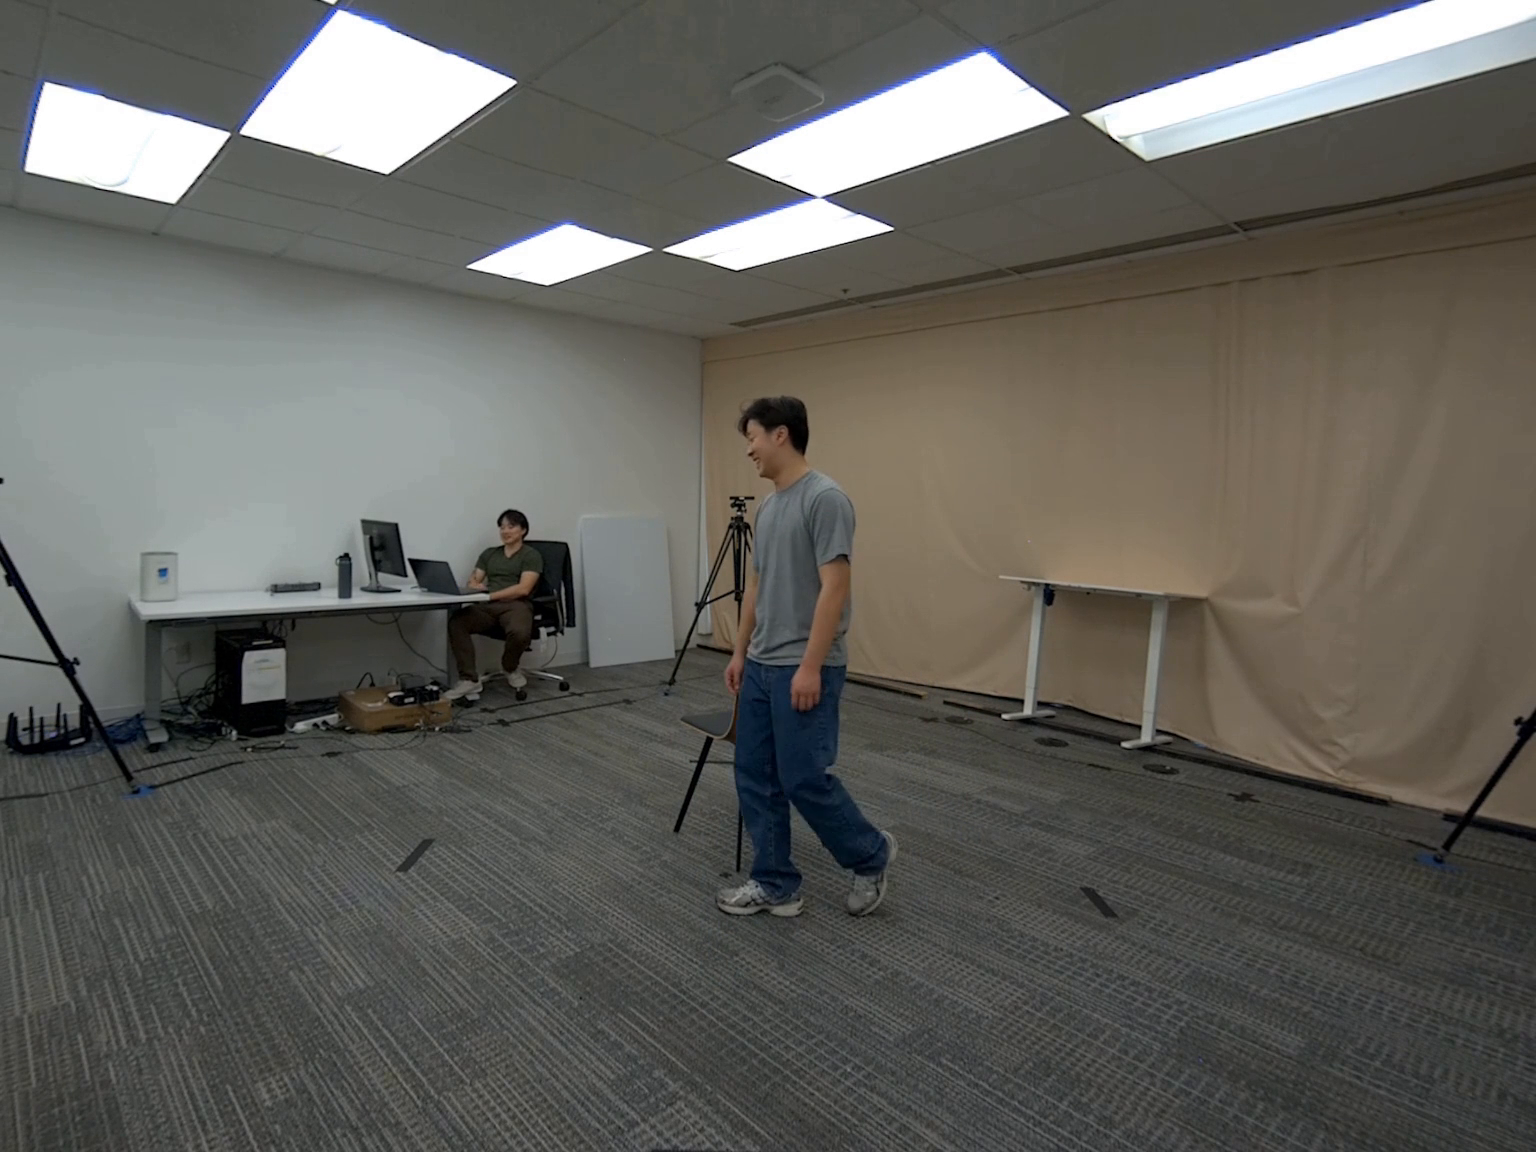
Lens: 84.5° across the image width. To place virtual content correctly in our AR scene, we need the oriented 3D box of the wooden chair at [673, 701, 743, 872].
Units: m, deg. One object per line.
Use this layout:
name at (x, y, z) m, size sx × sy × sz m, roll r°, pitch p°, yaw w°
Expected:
wooden chair at (-0.076, 0.652, 3.418) m, size 0.467 × 0.873 × 0.537 m, roll -1°, pitch 8°, yaw -37°
